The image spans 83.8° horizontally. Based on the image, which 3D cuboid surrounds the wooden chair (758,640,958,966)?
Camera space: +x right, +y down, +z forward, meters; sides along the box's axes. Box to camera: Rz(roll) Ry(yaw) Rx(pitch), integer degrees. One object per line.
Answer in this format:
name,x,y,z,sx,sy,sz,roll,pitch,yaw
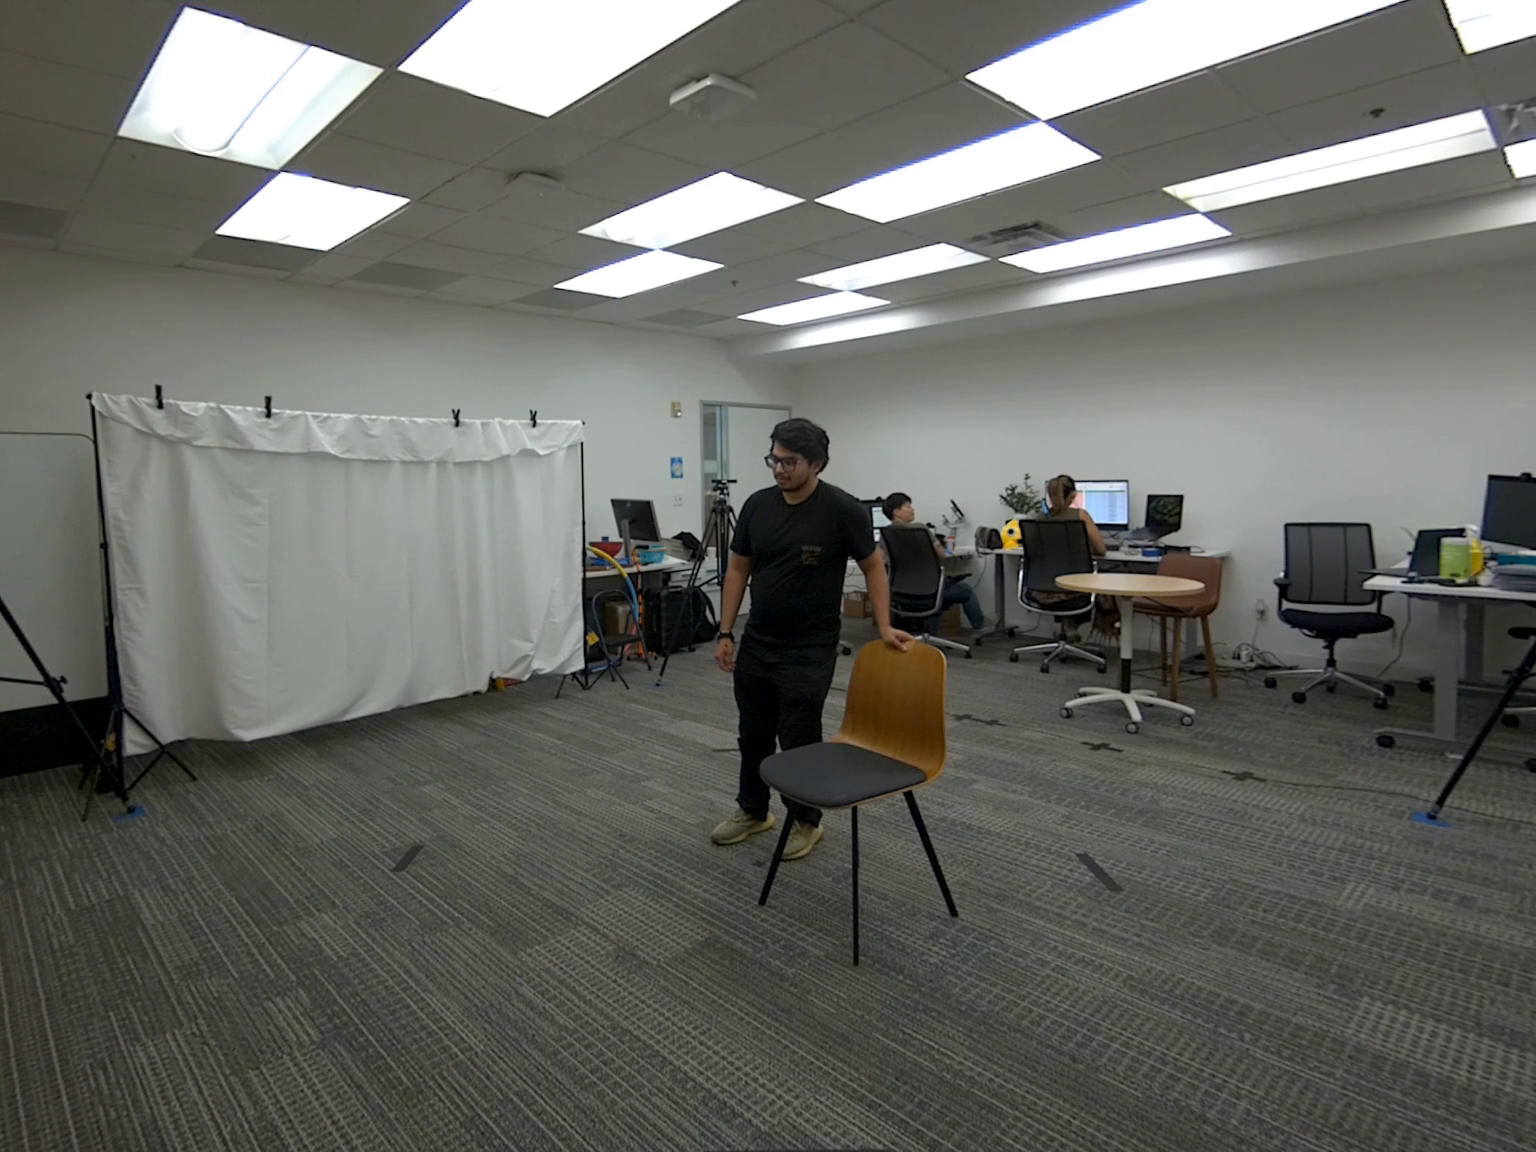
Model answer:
wooden chair,0.280,0.661,2.716,0.508,0.877,0.492,1,1,-38
